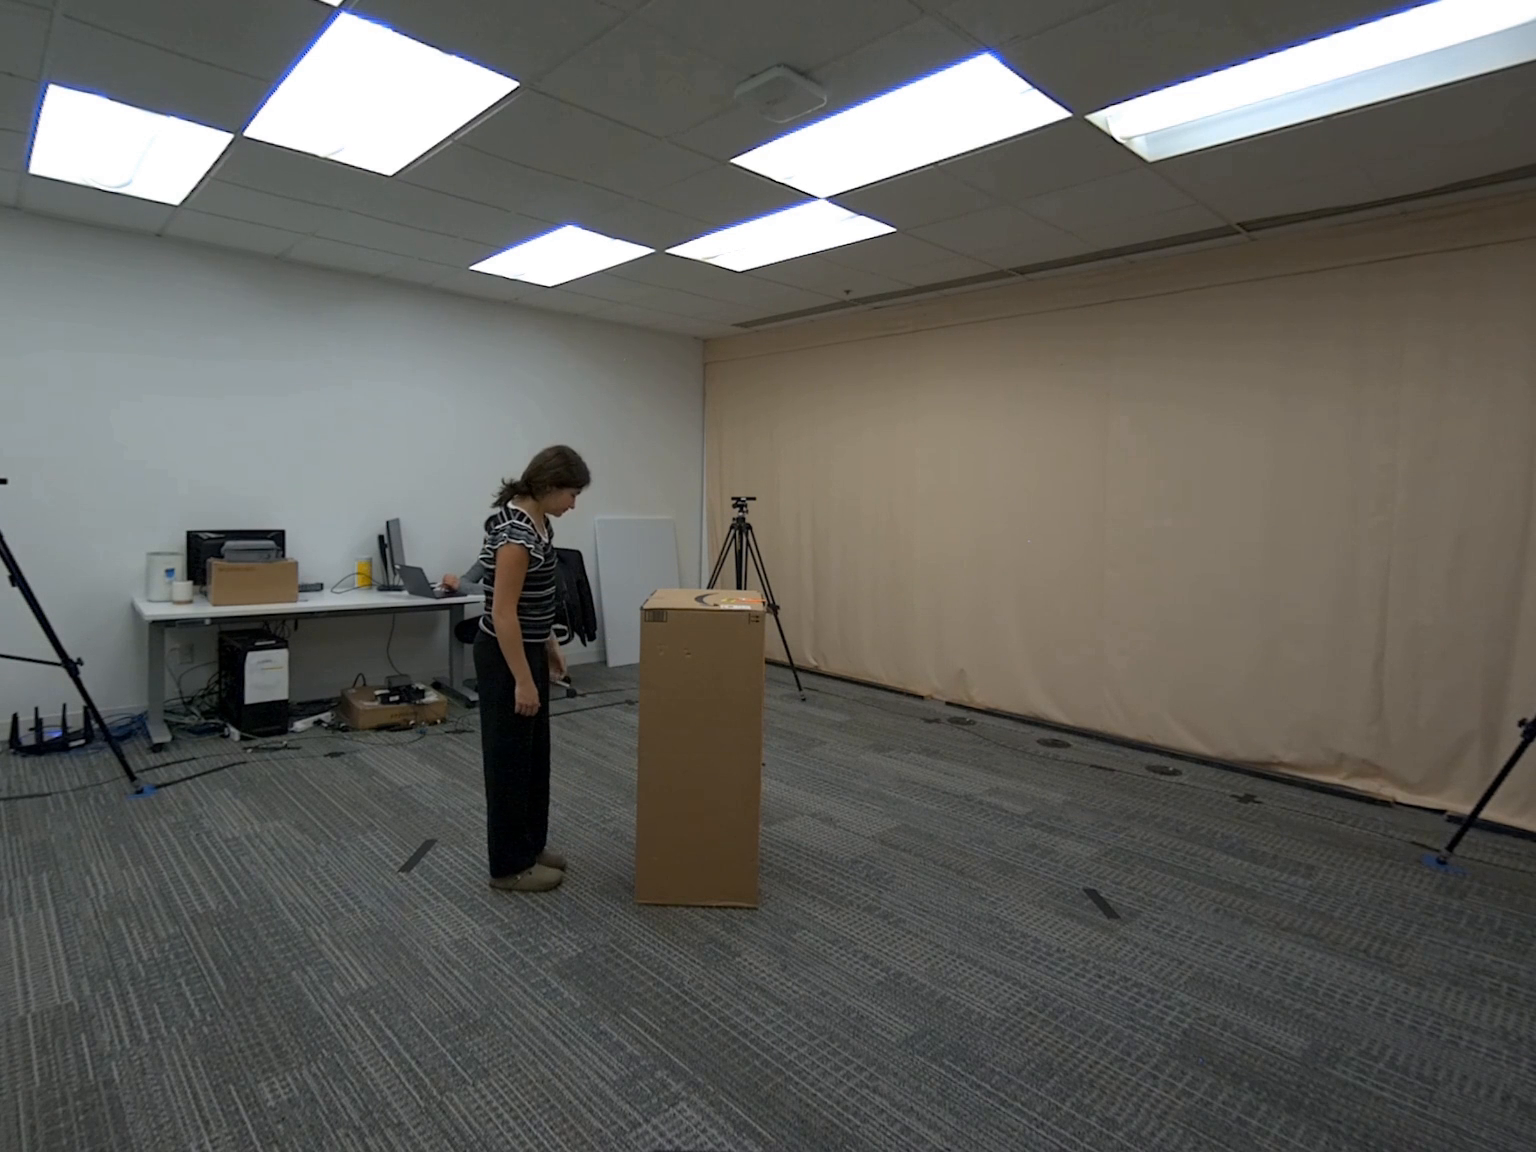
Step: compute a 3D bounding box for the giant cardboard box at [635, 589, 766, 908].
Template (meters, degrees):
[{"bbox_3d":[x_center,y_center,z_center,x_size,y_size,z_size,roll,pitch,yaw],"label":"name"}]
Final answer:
[{"bbox_3d":[-0.246,0.593,3.125,0.426,1.023,0.579,2,3,-1],"label":"giant cardboard box"}]
